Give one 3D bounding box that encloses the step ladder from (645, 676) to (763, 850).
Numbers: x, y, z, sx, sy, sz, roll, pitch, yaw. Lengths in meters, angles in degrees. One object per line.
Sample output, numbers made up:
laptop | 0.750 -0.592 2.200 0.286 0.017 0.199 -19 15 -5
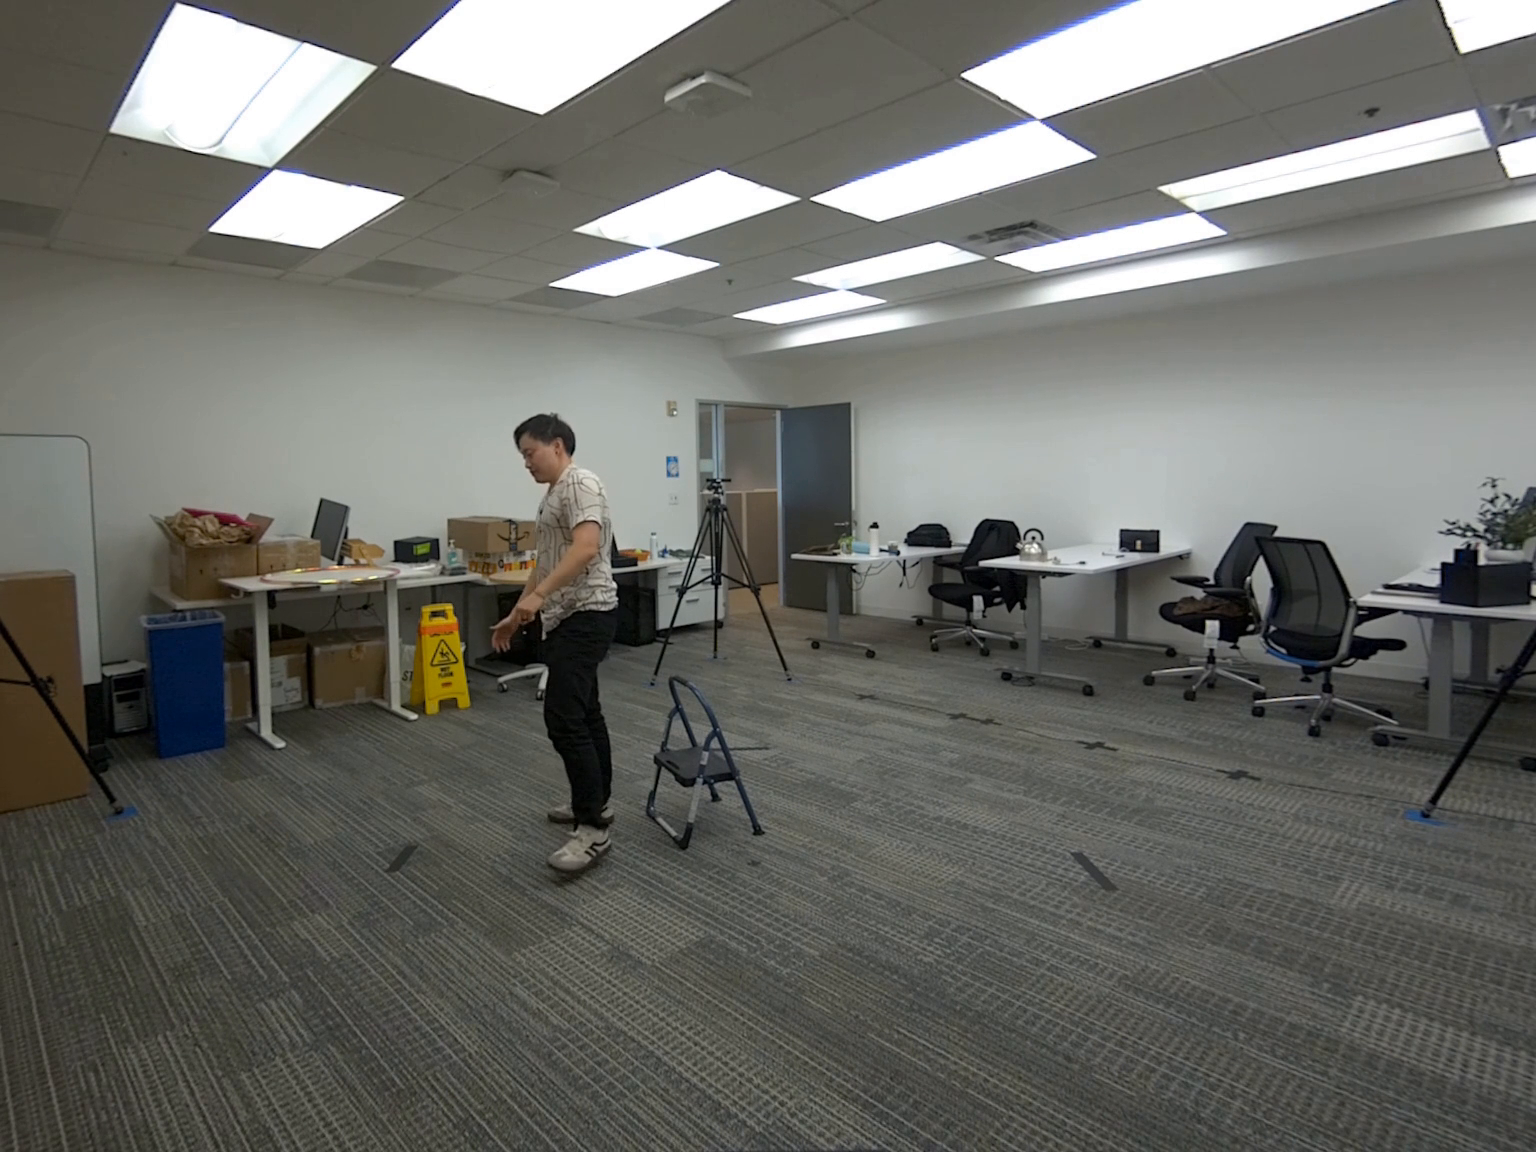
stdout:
step ladder | -0.269 0.706 3.463 0.341 0.604 0.442 -3 4 -28
